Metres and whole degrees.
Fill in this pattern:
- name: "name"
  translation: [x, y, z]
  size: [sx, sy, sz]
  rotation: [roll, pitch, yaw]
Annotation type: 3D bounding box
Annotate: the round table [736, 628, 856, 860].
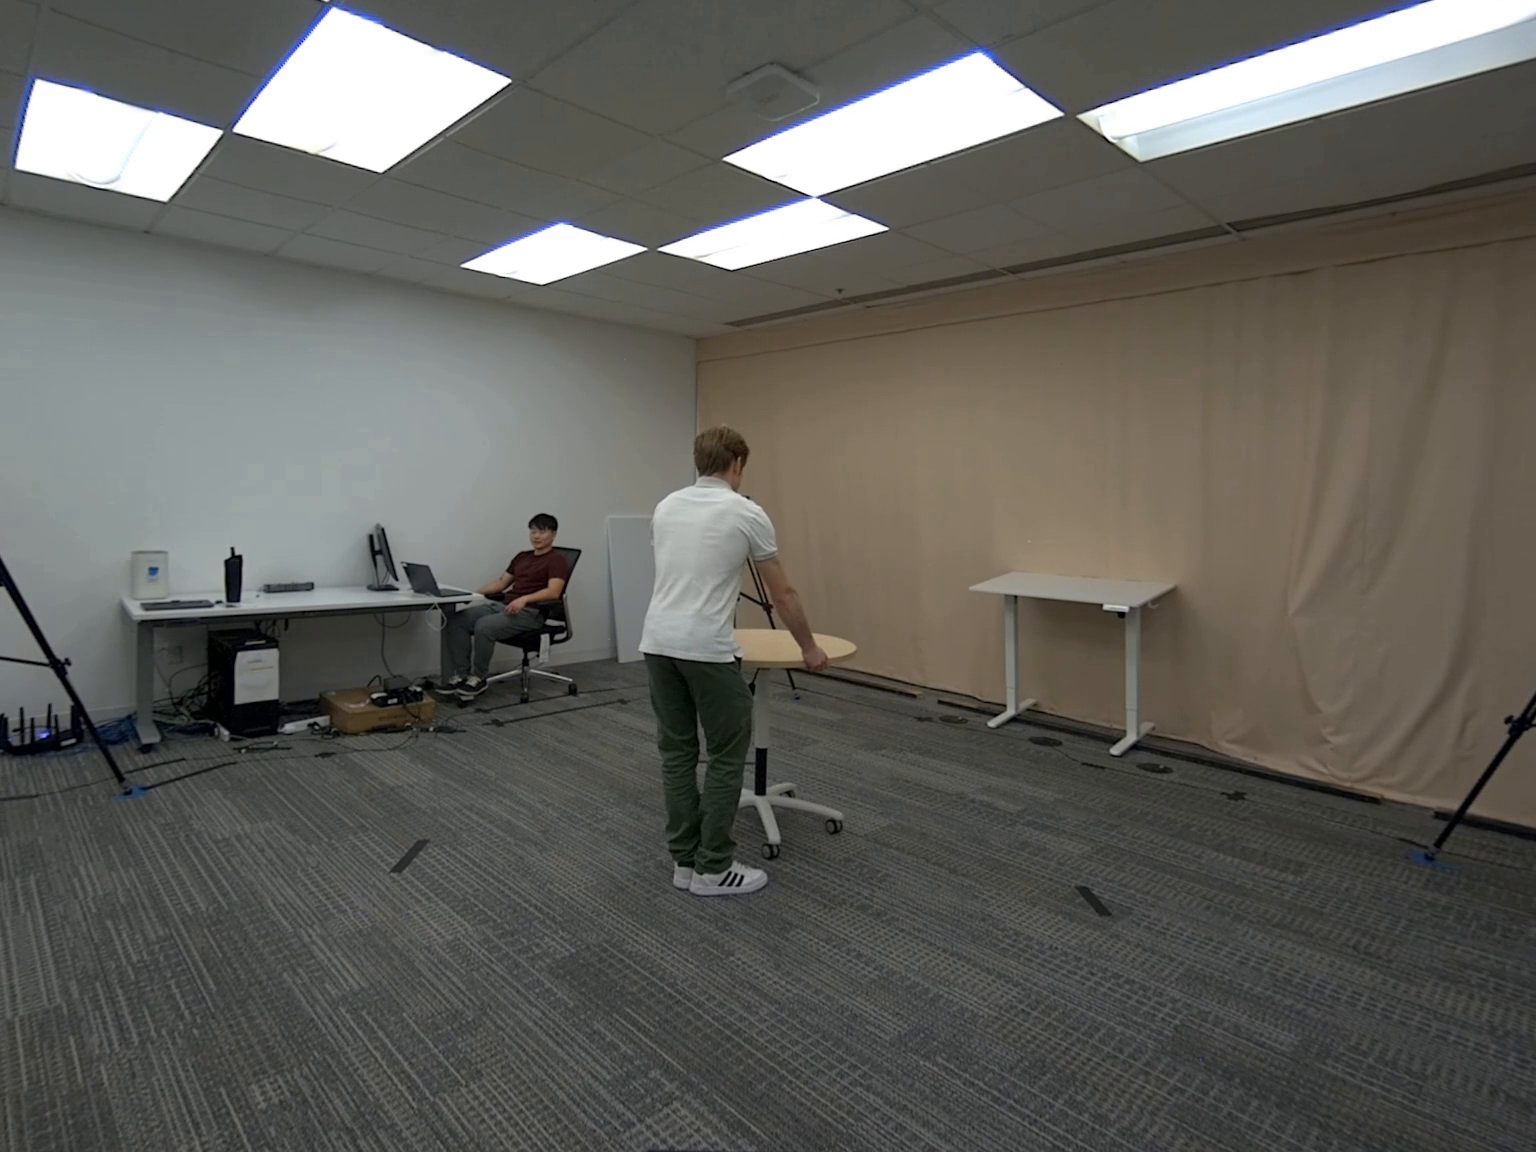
- name: "round table"
  translation: [-0.035, 0.678, 3.555]
  size: [0.763, 0.792, 0.766]
  rotation: [2, 4, -1]
